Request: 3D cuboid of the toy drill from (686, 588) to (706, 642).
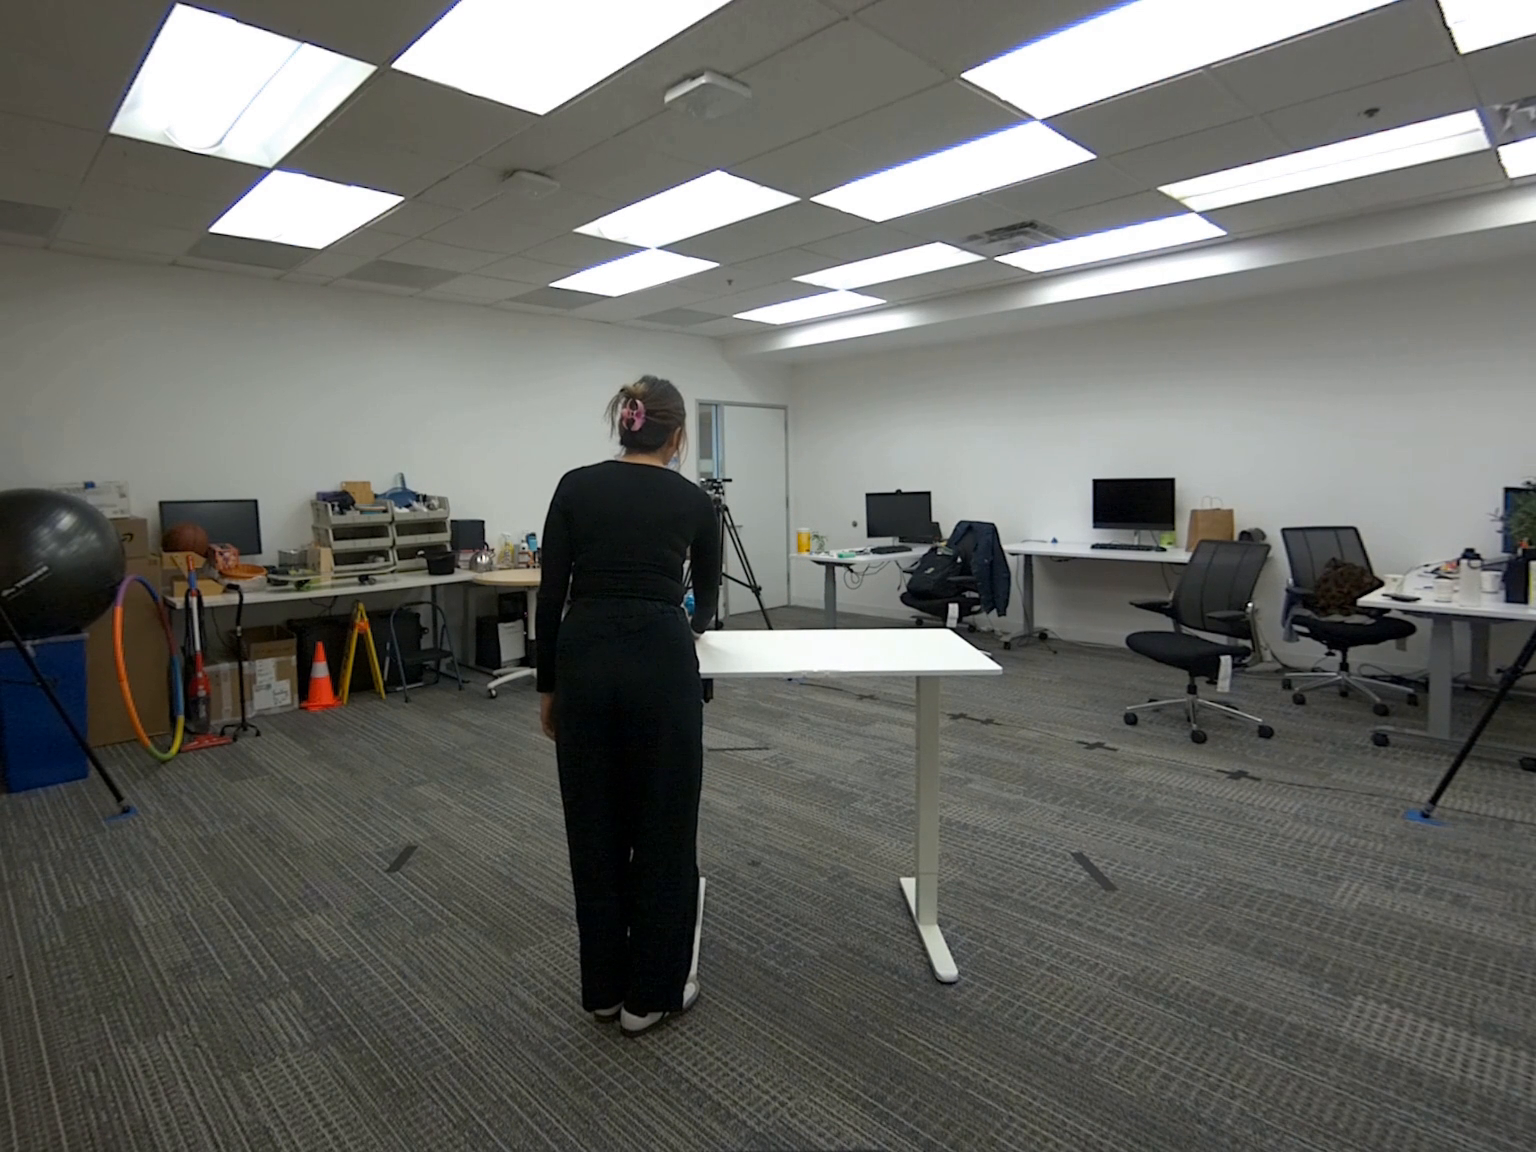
[{"bbox_3d":[-0.237,0.123,2.818,0.061,0.145,0.170,4,5,-2],"label":"toy drill"}]
